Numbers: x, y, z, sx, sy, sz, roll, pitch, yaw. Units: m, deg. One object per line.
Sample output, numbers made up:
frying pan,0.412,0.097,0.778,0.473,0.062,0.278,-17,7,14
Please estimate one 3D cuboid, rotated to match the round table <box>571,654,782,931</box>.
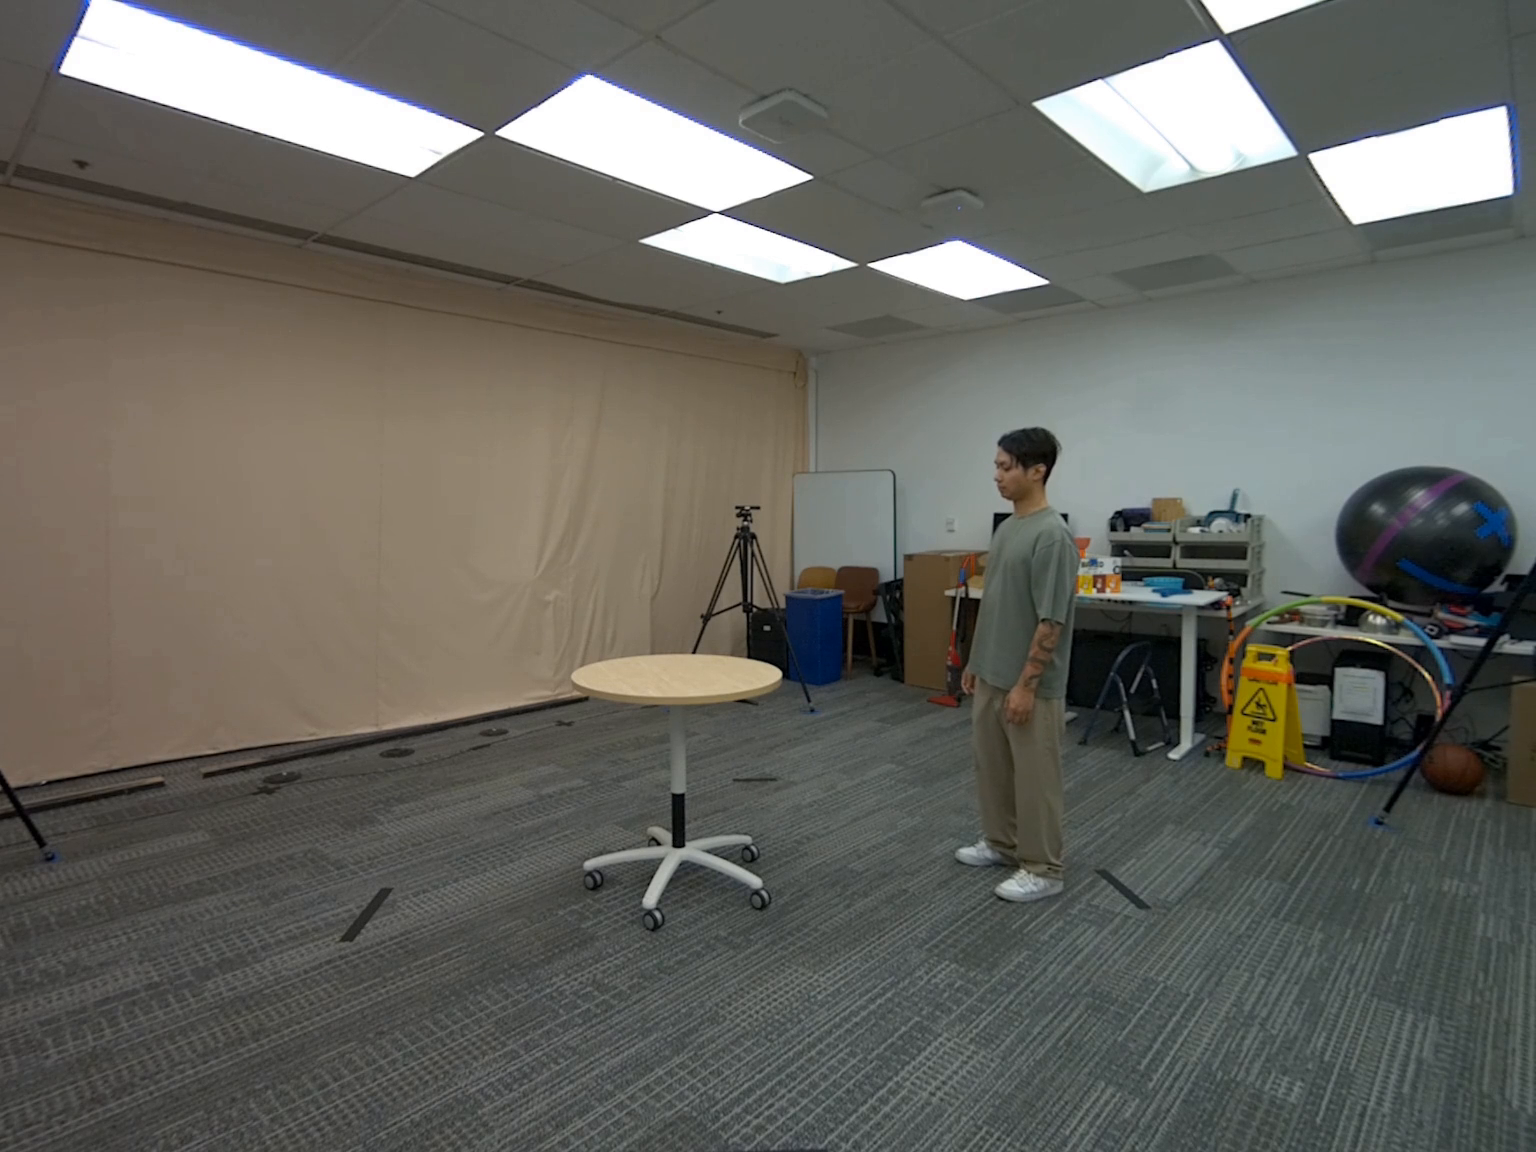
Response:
round table,-0.333,0.747,3.075,0.784,0.785,0.788,0,4,-2
